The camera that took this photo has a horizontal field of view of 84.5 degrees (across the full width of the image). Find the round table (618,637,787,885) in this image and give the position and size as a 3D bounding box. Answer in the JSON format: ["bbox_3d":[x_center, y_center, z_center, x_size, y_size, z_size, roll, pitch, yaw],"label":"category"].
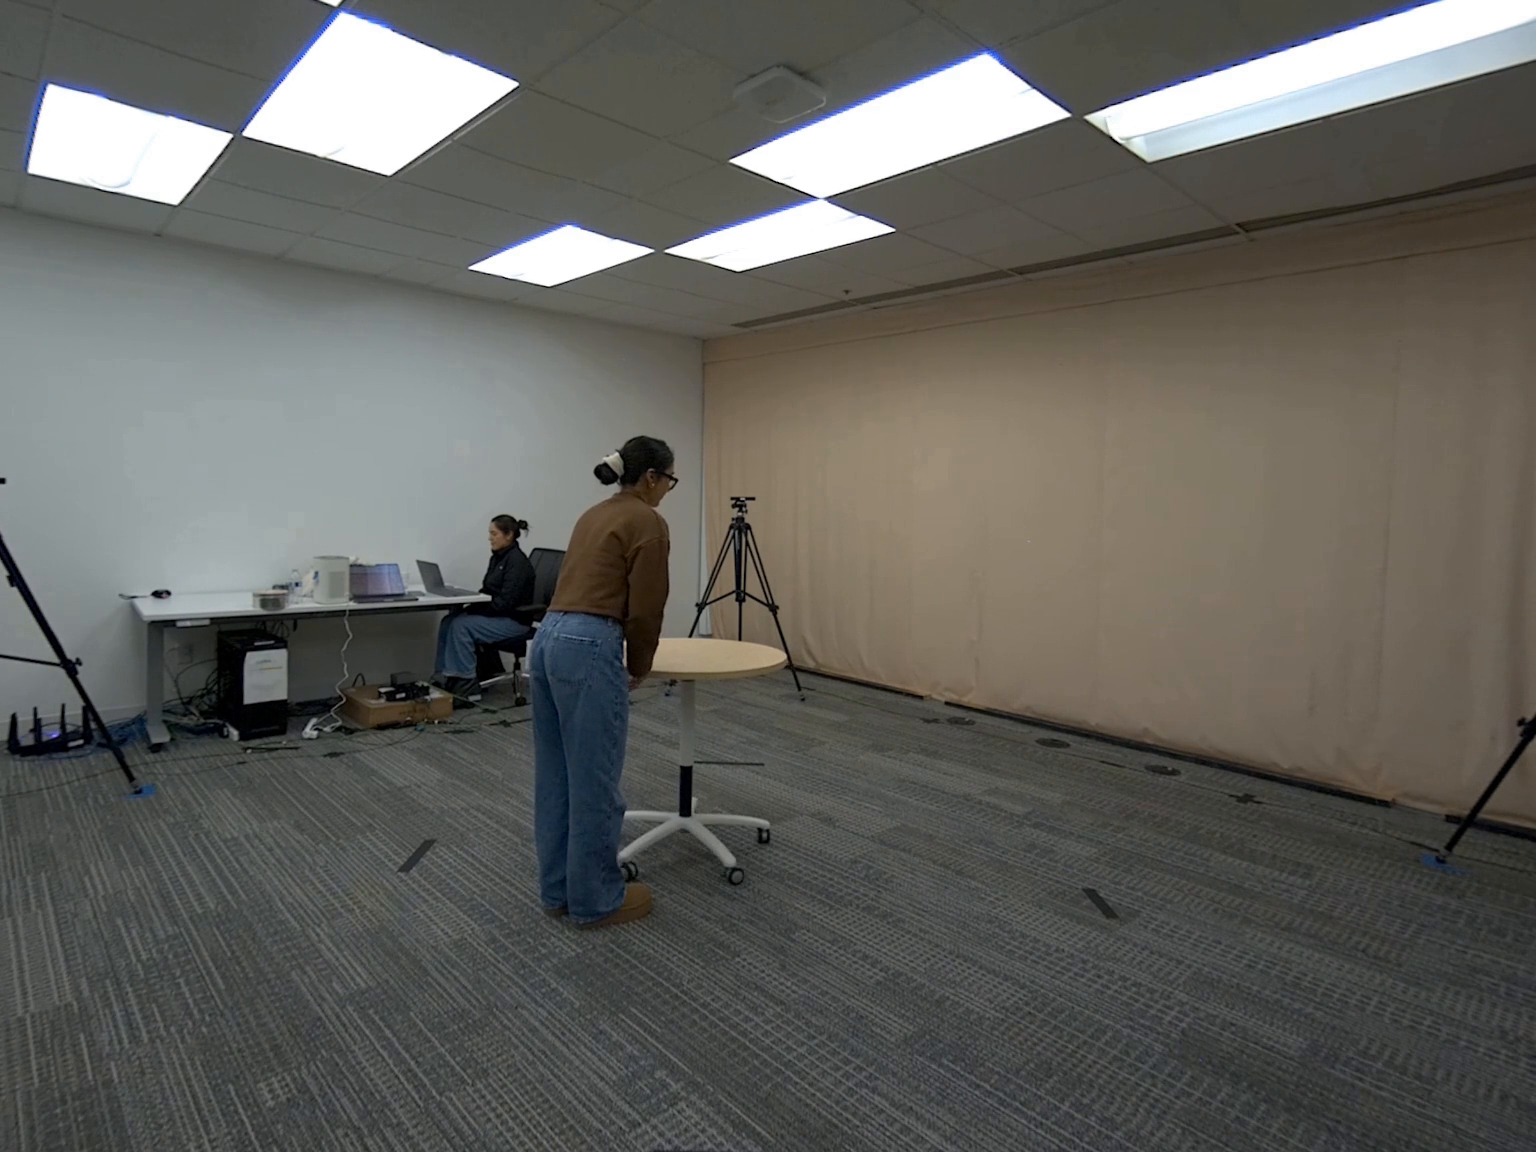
[{"bbox_3d":[-0.317,0.696,3.297,0.763,0.792,0.766,2,3,-1],"label":"round table"}]
